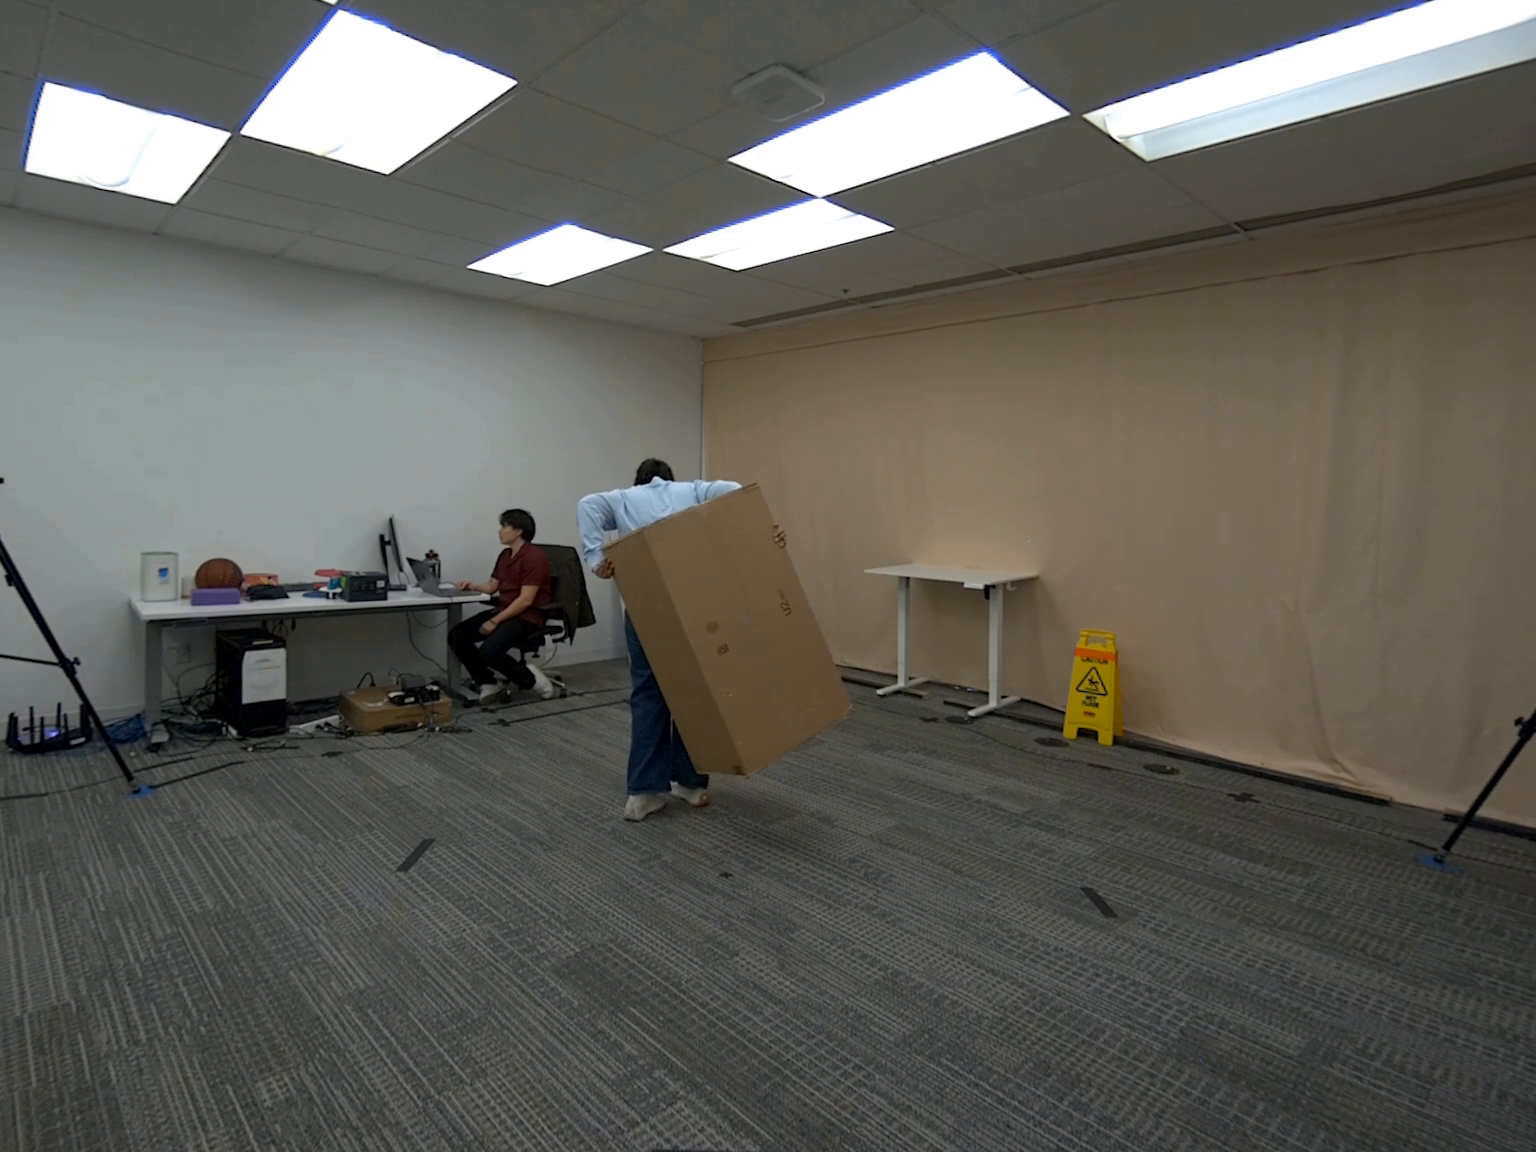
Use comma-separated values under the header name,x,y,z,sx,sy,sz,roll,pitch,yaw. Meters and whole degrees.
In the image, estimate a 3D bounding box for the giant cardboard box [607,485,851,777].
name,x,y,z,sx,sy,sz,roll,pitch,yaw
giant cardboard box,-0.174,0.223,3.451,0.571,1.024,0.432,-24,2,-33
